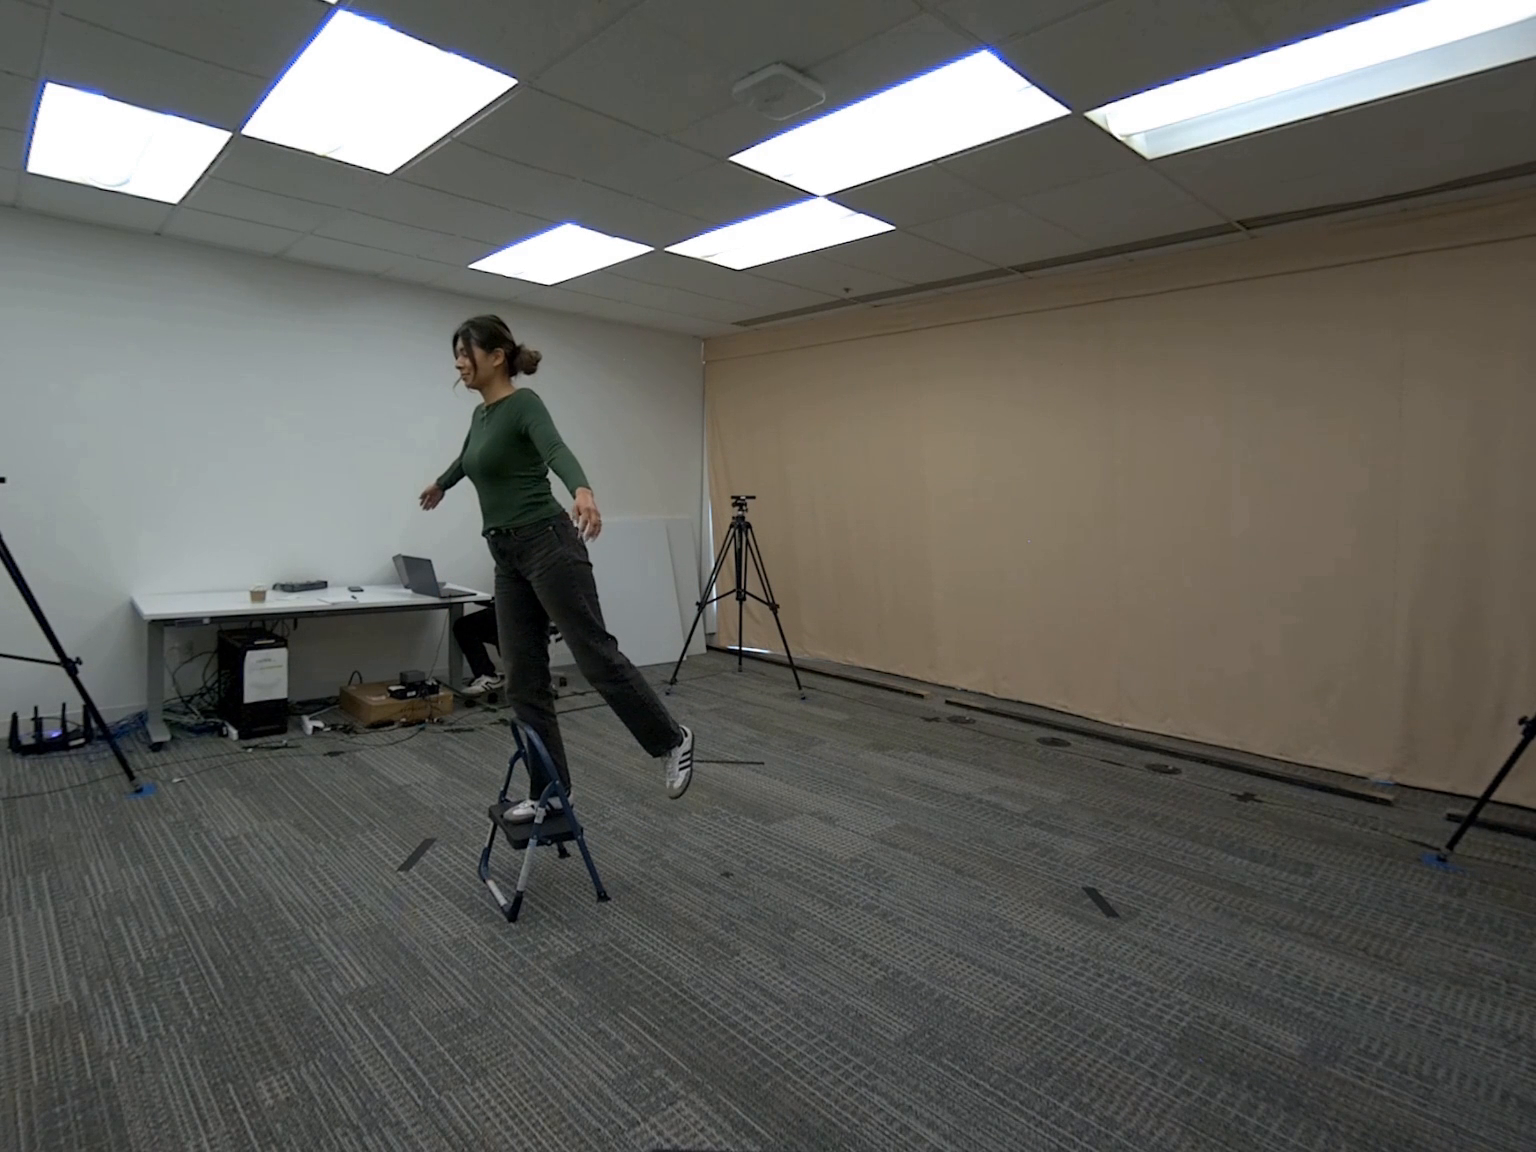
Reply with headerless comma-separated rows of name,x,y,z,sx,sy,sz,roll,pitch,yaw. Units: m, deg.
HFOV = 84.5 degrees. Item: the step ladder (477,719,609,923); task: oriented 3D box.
step ladder,-0.800,0.800,2.961,0.342,0.604,0.441,-1,4,-33
